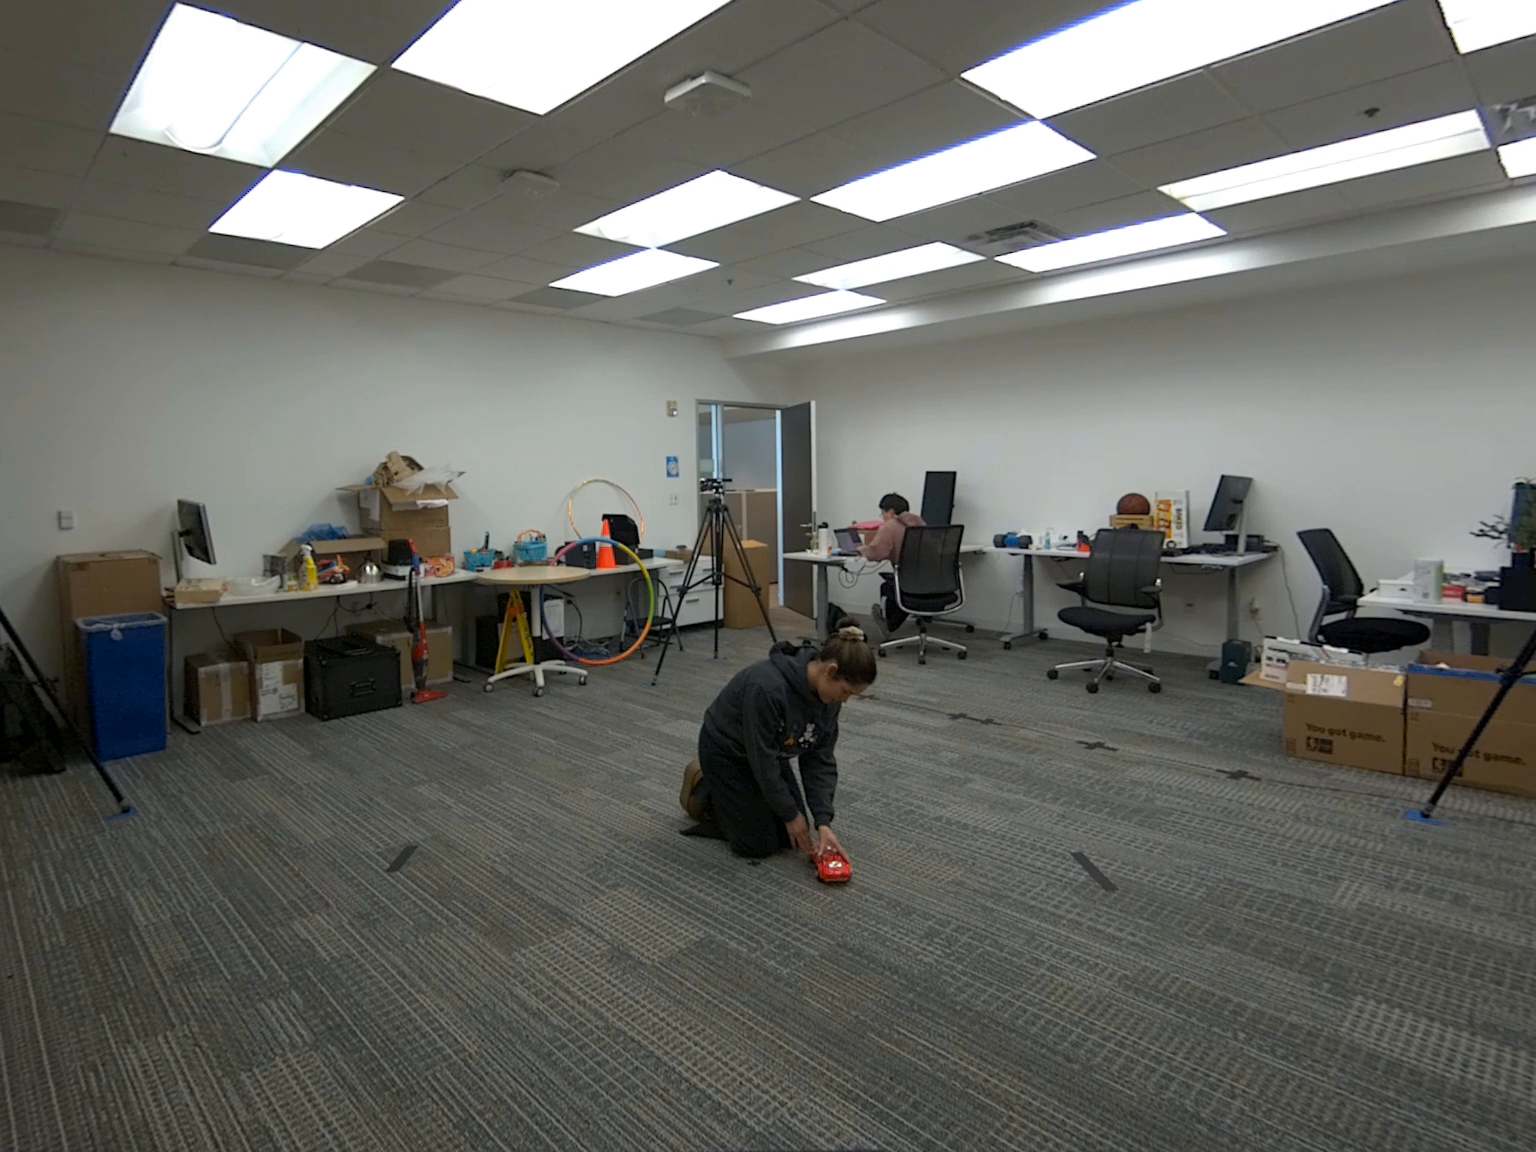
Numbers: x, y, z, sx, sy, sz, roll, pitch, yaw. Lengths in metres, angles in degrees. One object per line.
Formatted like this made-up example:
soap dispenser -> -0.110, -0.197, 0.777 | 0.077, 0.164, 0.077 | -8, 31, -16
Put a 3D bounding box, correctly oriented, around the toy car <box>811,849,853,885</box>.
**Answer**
toy car -> 0.221, 1.019, 2.993 | 0.130, 0.084, 0.254 | -1, -6, -5
